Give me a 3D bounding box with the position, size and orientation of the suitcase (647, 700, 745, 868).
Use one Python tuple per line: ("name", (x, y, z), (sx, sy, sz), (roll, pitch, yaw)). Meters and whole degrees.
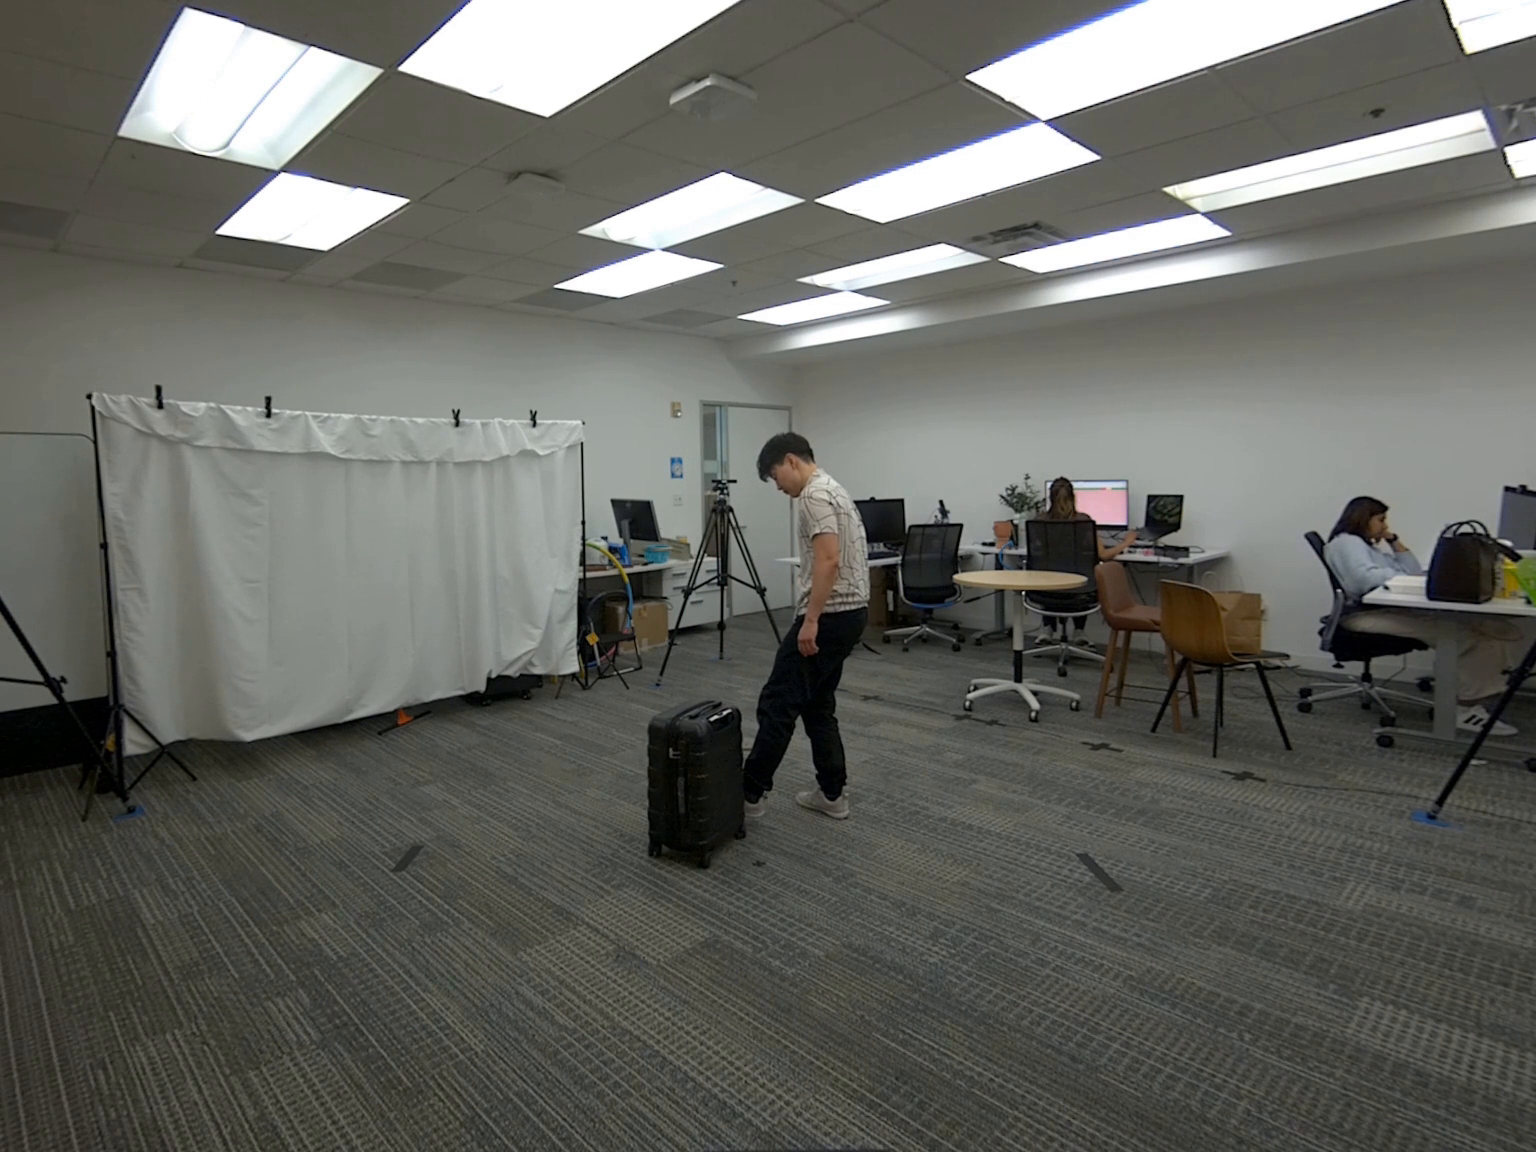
("suitcase", (-0.270, 0.761, 3.232), (0.254, 0.547, 0.368), (1, 6, 27))
